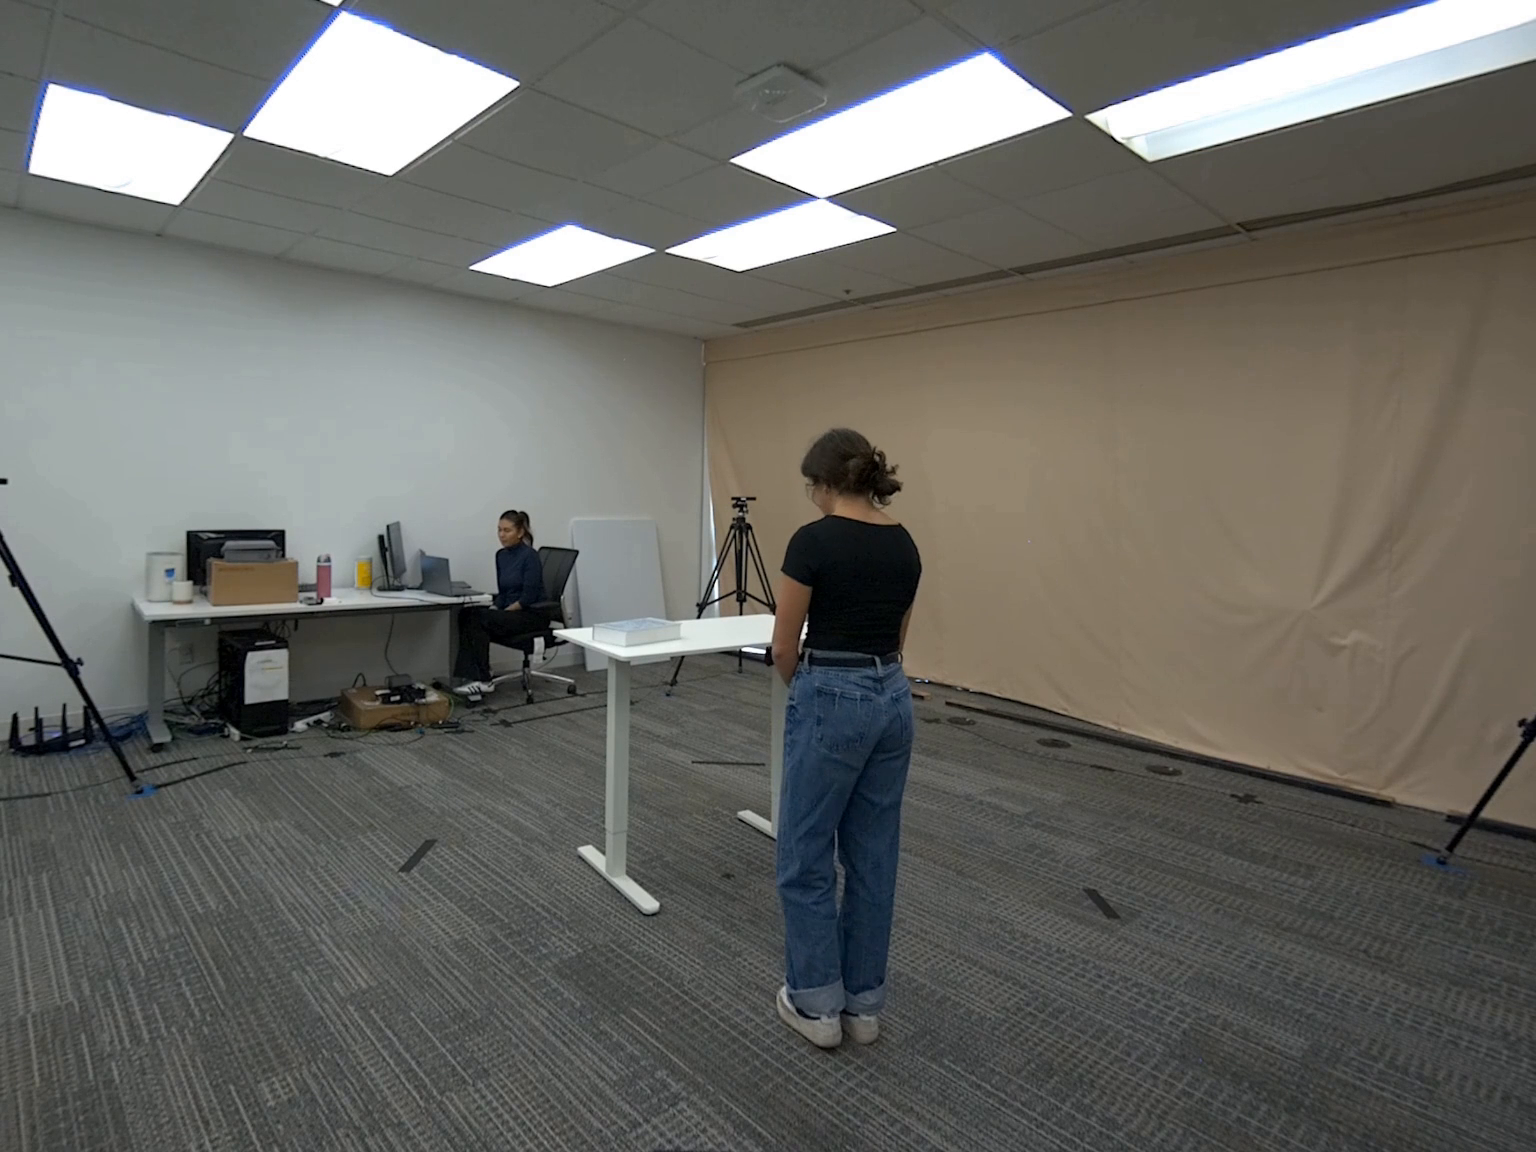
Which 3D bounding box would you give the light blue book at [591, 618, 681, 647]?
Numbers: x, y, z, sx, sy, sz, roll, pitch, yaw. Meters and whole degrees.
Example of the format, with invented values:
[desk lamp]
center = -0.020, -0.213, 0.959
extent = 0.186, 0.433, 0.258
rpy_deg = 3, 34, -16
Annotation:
[light blue book]
center = -0.475, 0.201, 3.003
extent = 0.196, 0.059, 0.255
rpy_deg = 5, 7, 42
